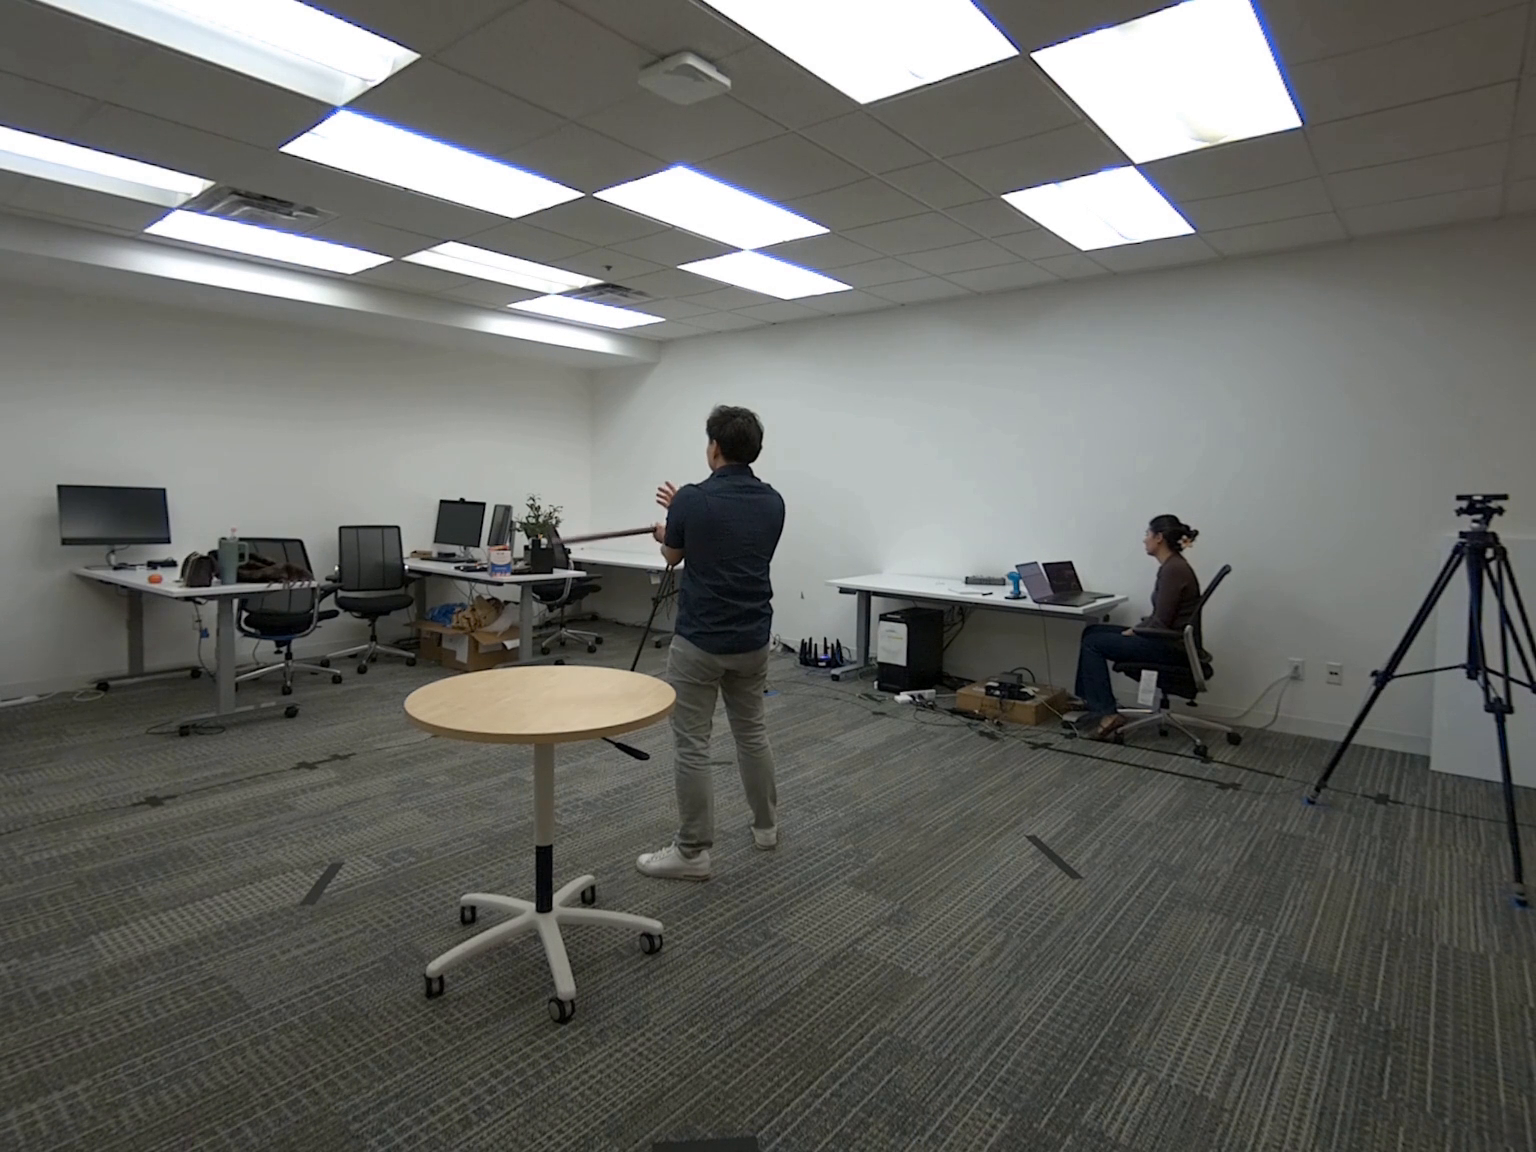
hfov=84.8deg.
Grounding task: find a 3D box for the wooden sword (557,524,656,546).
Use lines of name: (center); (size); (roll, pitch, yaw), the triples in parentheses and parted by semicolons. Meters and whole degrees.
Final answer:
wooden sword: (-0.478, -0.188, 3.464); (1.005, 0.024, 0.053); (-9, 11, -23)
